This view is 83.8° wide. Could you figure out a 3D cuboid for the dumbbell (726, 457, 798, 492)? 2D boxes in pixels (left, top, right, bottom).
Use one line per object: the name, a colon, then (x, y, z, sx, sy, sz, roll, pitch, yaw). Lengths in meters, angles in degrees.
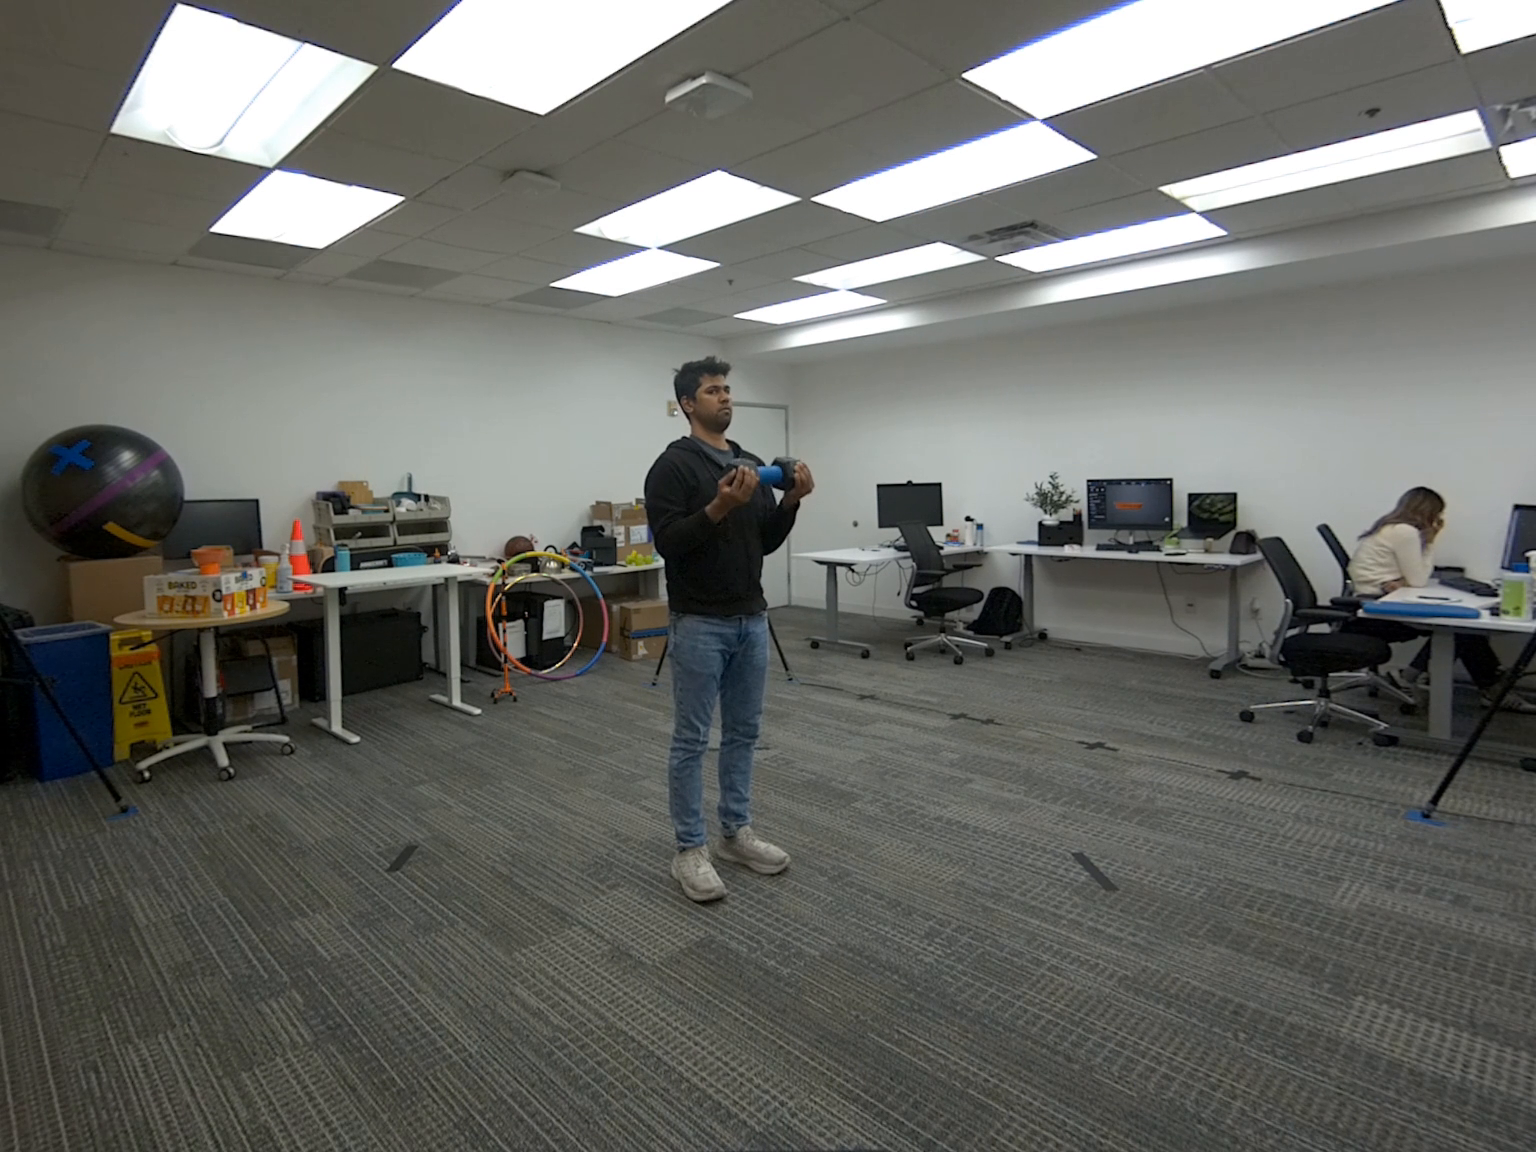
dumbbell: (-0.024, -0.315, 2.815, 0.286, 0.107, 0.127, -9, 22, -44)
